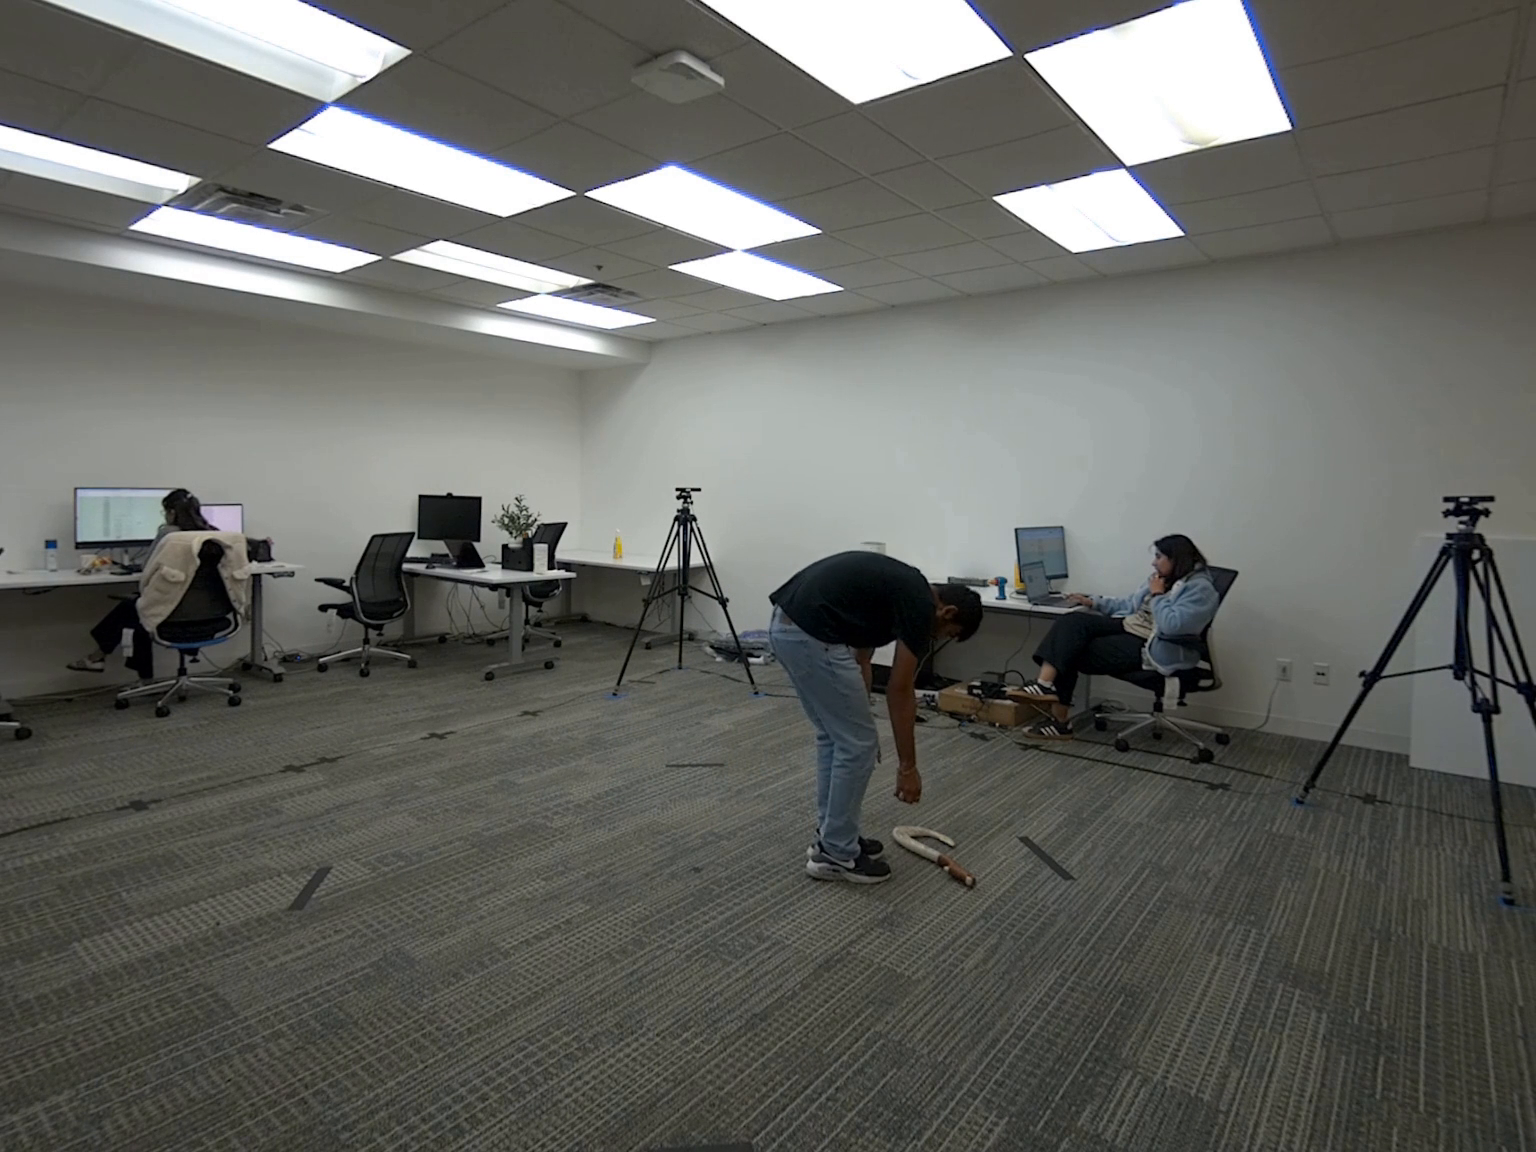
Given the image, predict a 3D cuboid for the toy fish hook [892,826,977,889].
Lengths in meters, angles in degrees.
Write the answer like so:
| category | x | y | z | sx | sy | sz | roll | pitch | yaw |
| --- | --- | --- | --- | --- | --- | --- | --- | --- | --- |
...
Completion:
| category | x | y | z | sx | sy | sz | roll | pitch | yaw |
| --- | --- | --- | --- | --- | --- | --- | --- | --- | --- |
| toy fish hook | 0.665 | 1.051 | 3.248 | 0.220 | 0.048 | 0.520 | -3 | 7 | -23 |
